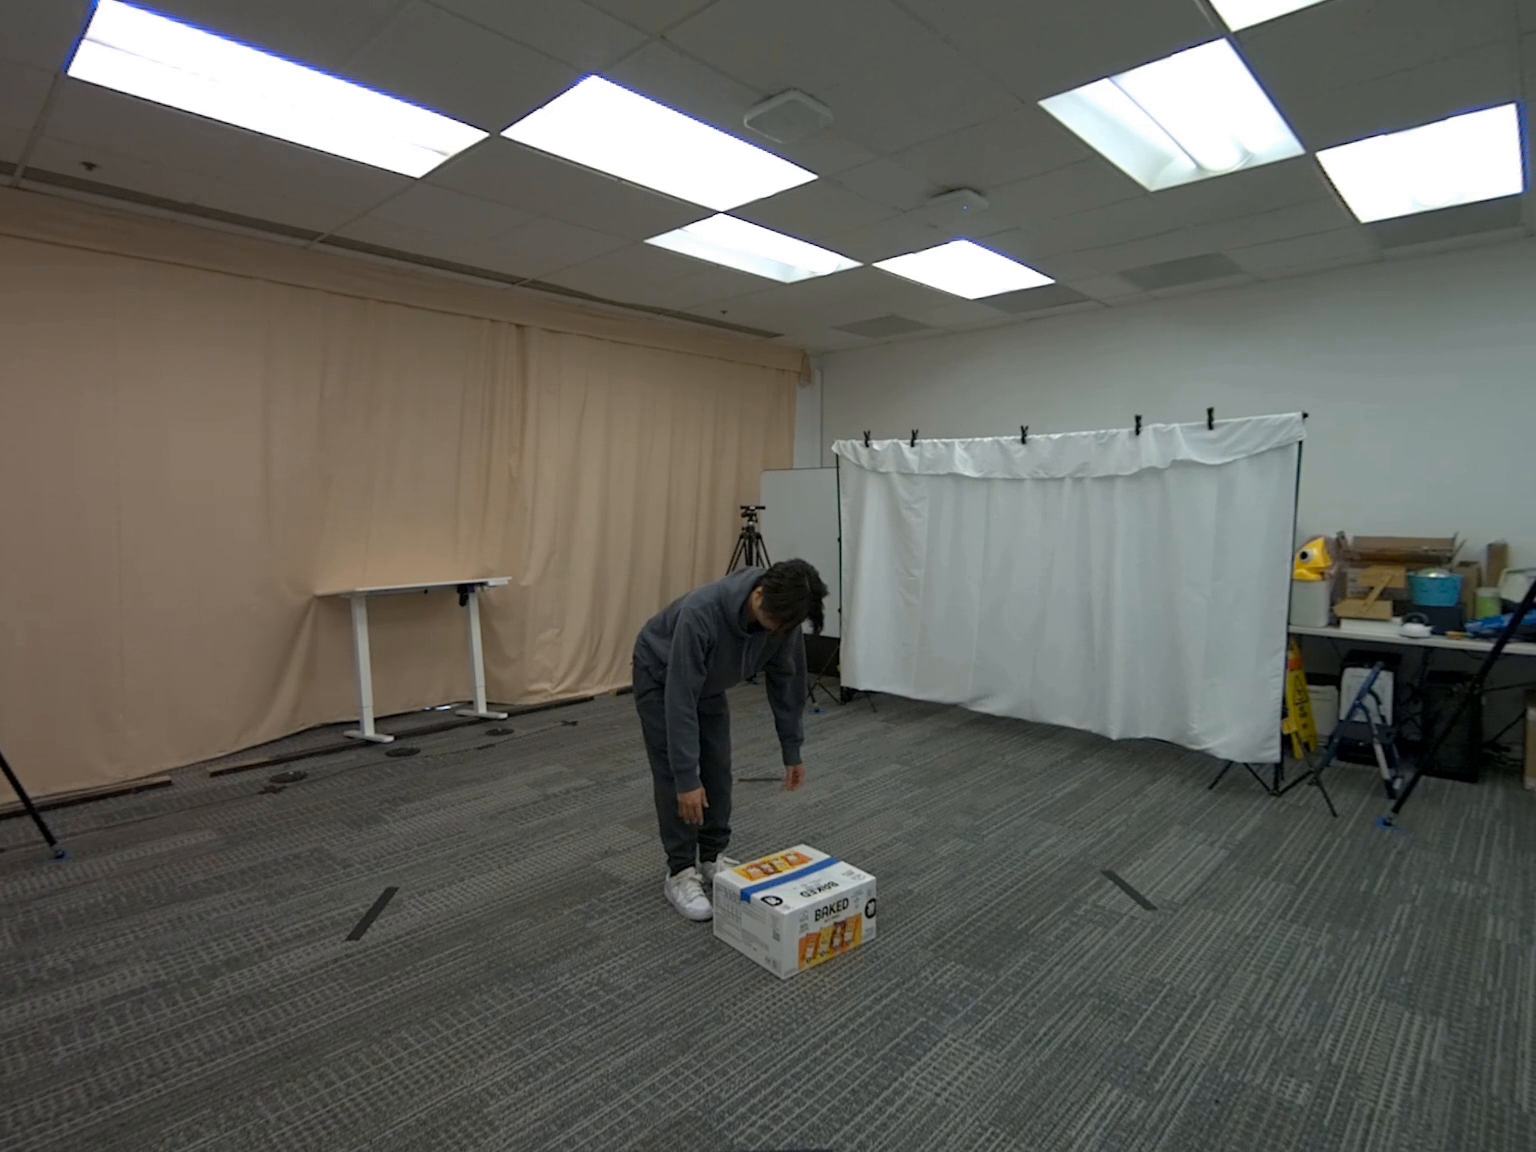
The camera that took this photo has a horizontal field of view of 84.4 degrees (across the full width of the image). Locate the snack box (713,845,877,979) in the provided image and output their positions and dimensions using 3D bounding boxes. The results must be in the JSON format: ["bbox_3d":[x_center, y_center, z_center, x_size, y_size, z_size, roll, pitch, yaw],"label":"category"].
[{"bbox_3d":[0.090,1.067,2.707,0.393,0.205,0.351,-3,5,-39],"label":"snack box"}]
